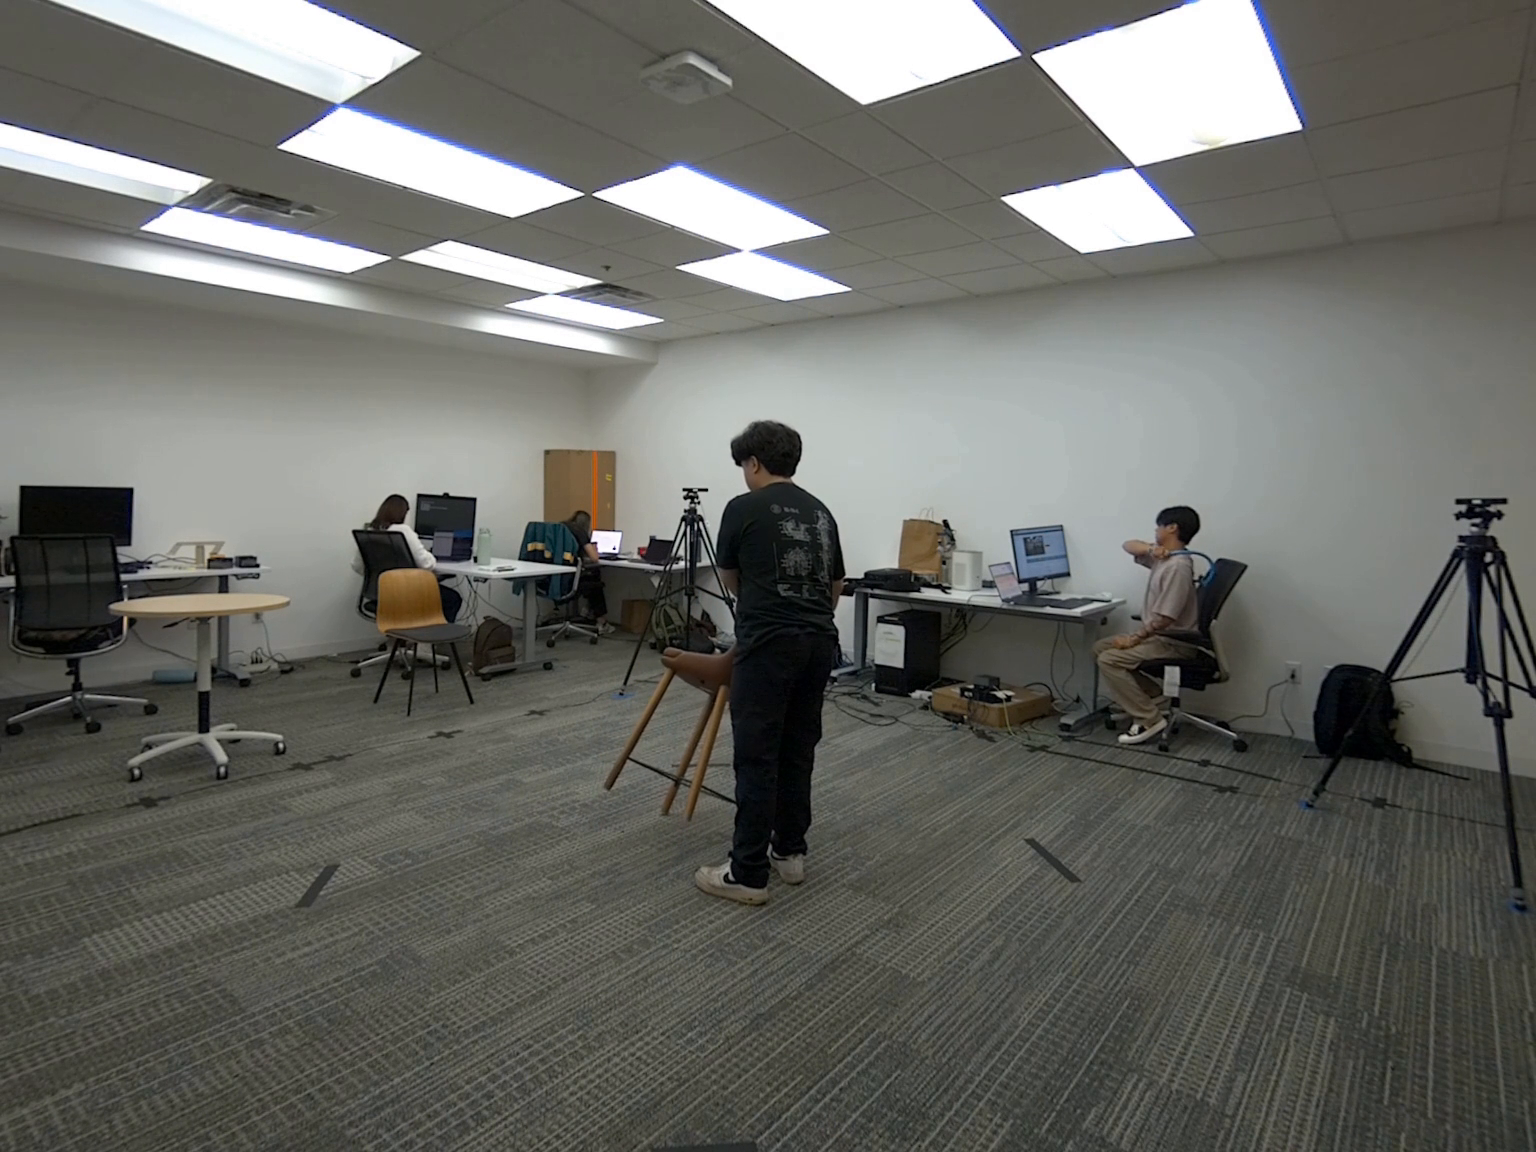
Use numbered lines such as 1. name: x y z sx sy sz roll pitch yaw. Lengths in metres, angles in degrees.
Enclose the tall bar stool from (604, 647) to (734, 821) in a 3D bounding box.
1. tall bar stool: -0.237 0.559 3.497 0.484 0.897 0.437 7 -22 40
